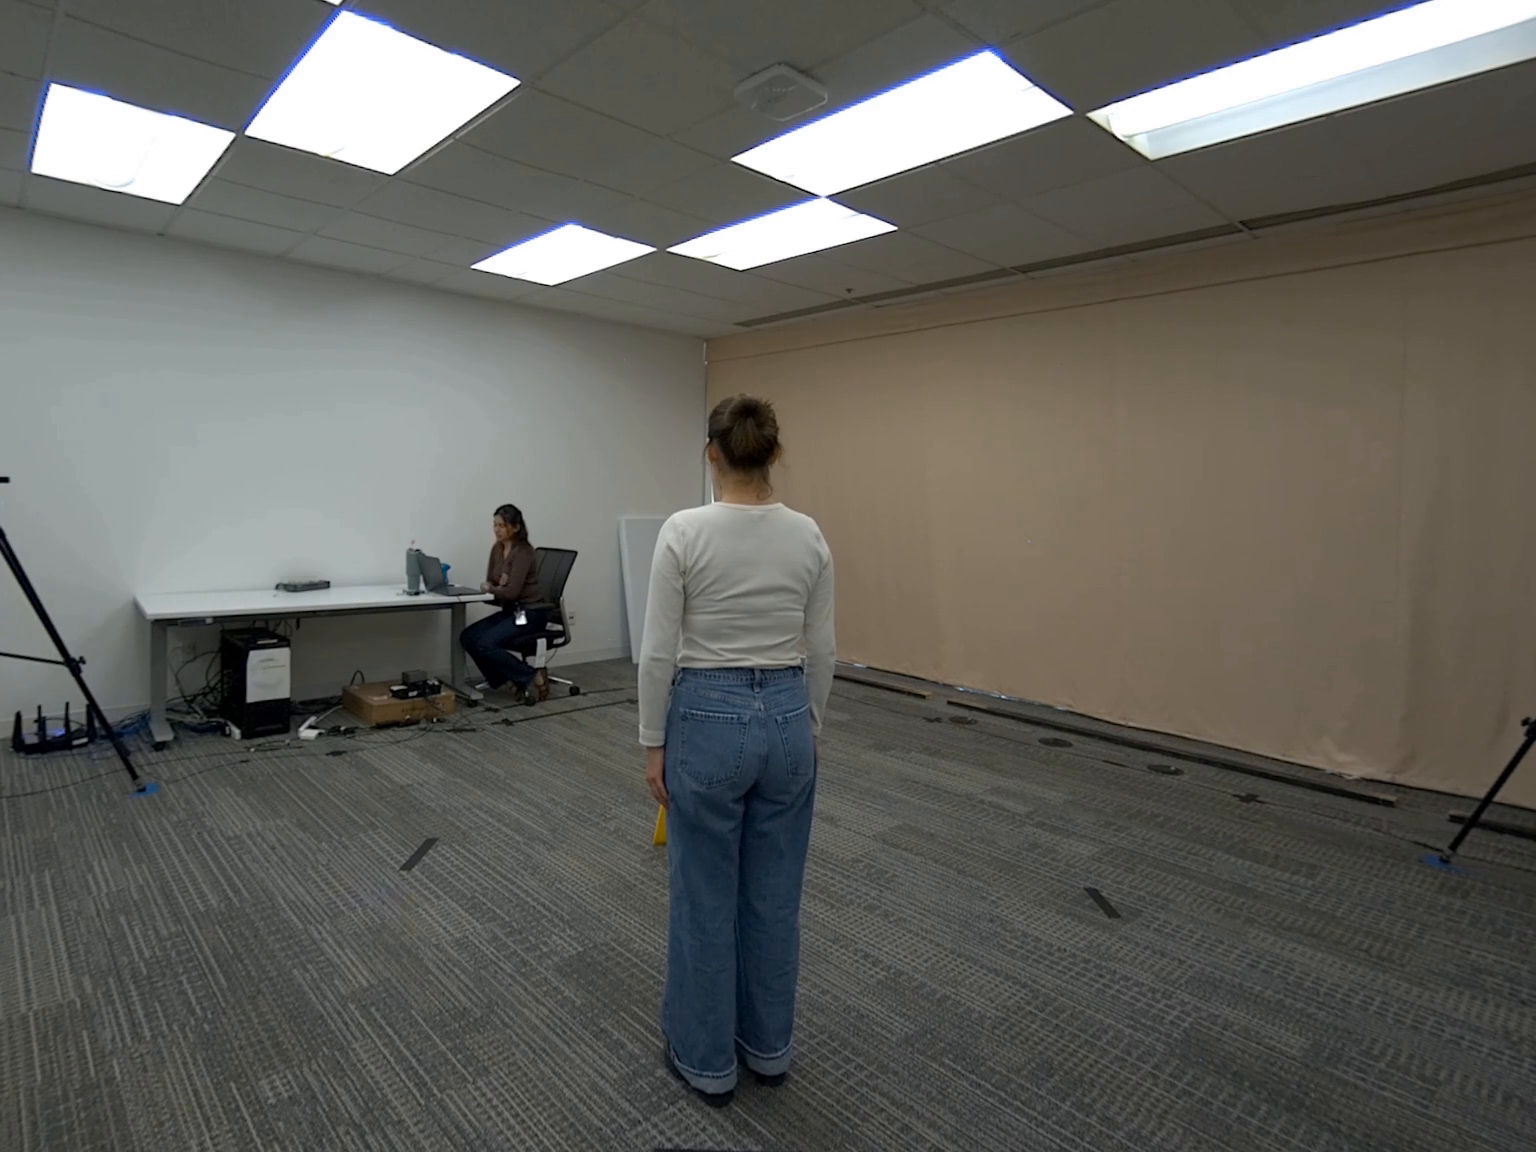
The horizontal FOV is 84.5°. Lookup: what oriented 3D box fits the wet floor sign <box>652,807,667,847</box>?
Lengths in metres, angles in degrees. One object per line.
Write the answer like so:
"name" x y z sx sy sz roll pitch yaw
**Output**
"wet floor sign" -0.257 0.760 3.325 0.276 0.645 0.297 -1 3 -43
